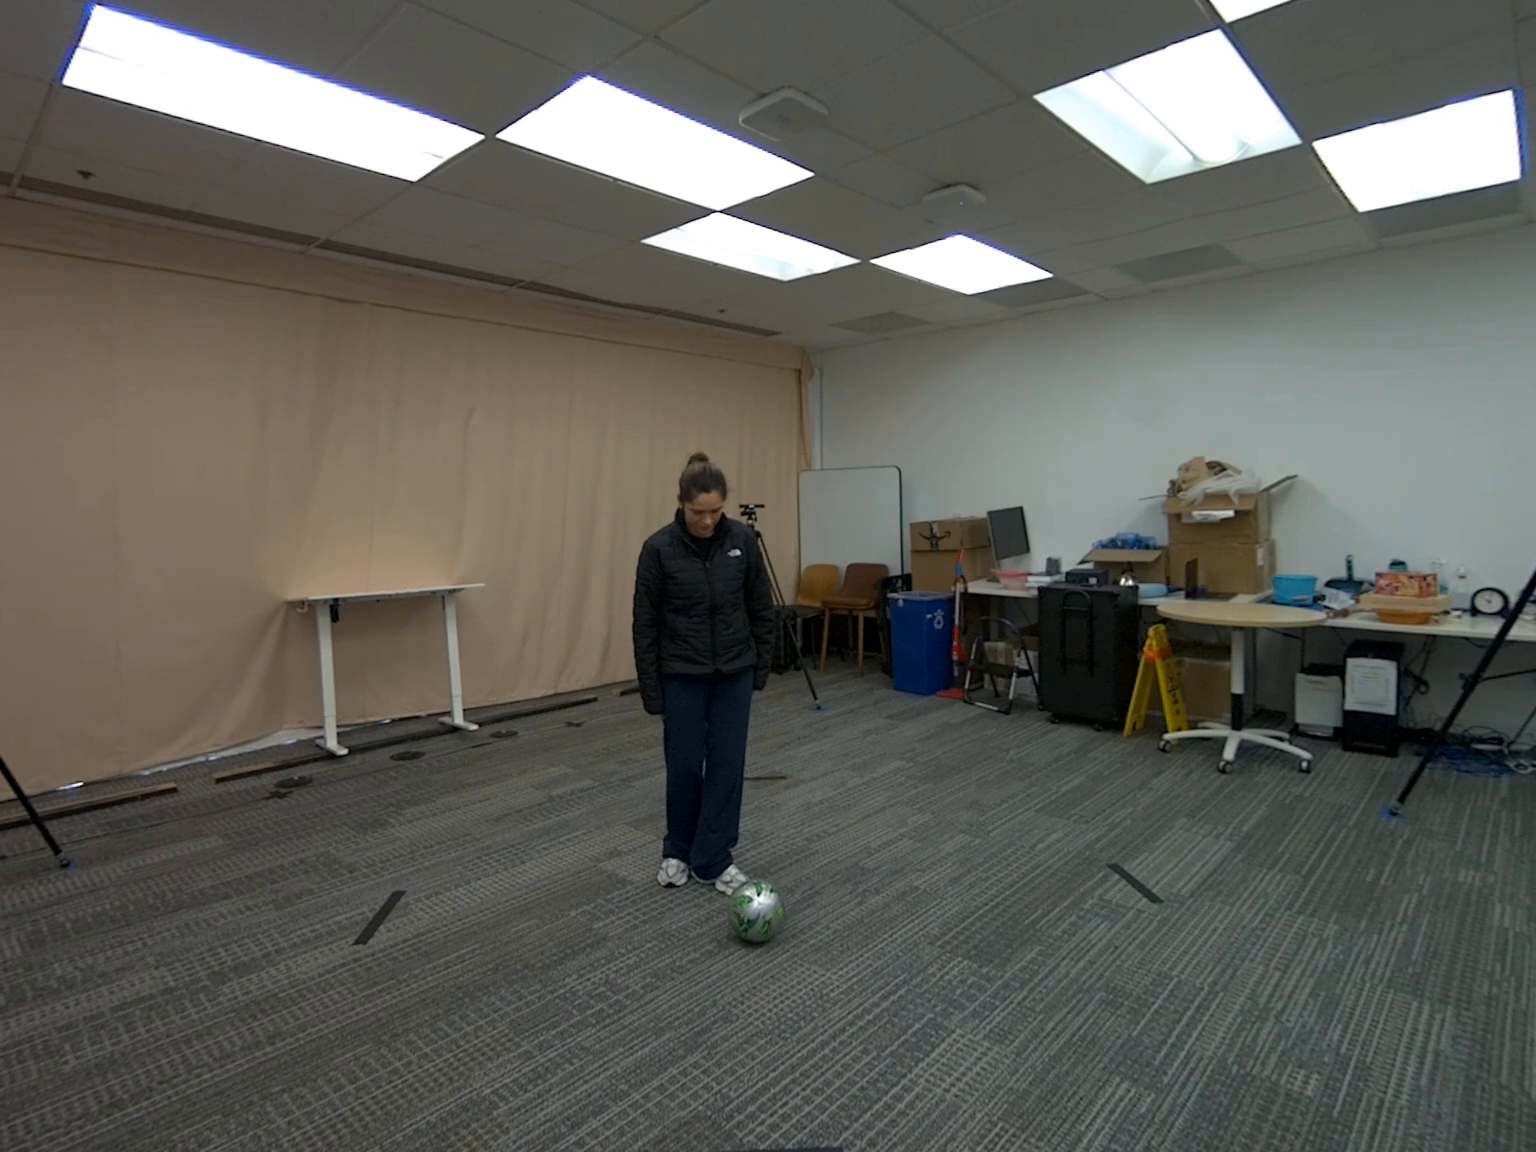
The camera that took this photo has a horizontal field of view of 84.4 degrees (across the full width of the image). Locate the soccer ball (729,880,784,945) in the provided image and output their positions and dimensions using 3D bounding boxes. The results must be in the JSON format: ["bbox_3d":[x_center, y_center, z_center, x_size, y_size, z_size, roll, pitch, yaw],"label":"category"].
[{"bbox_3d":[-0.038,1.071,2.695,0.187,0.187,0.188,-1,4,-2],"label":"soccer ball"}]
